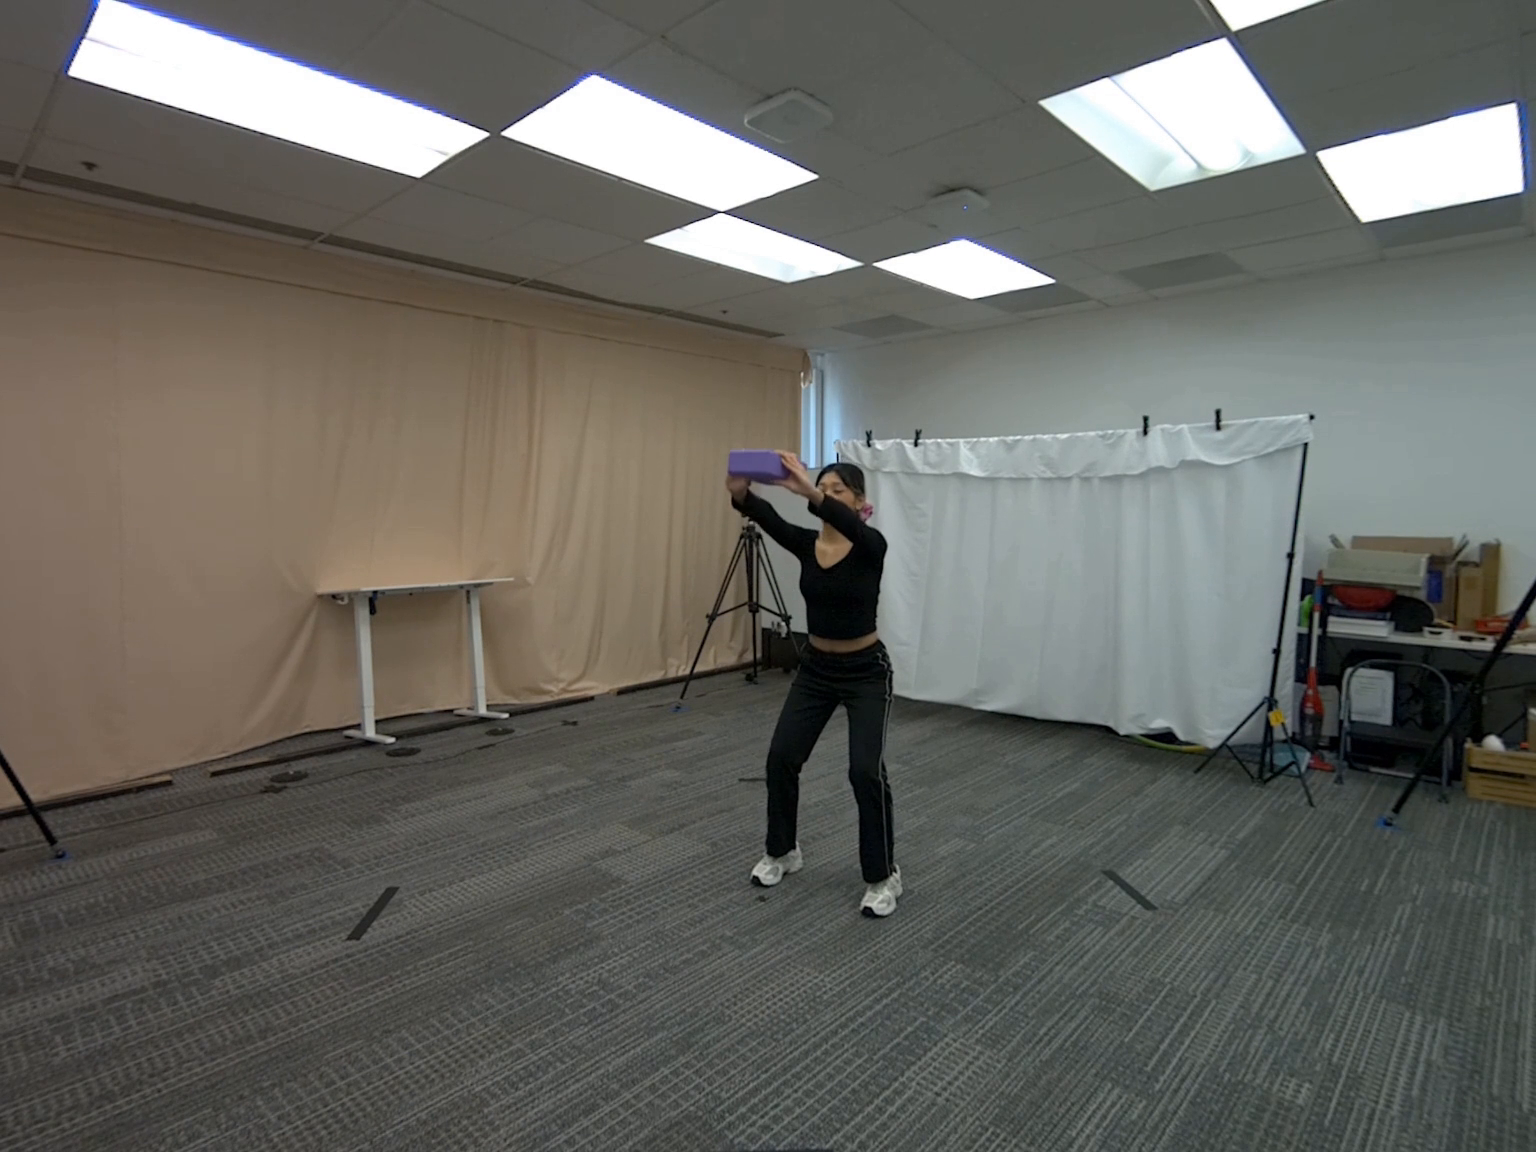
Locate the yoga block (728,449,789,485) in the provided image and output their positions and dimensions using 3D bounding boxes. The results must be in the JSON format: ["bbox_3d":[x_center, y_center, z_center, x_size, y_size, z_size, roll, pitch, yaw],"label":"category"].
[{"bbox_3d":[0.004,-0.329,2.561,0.153,0.076,0.223,6,1,28],"label":"yoga block"}]
